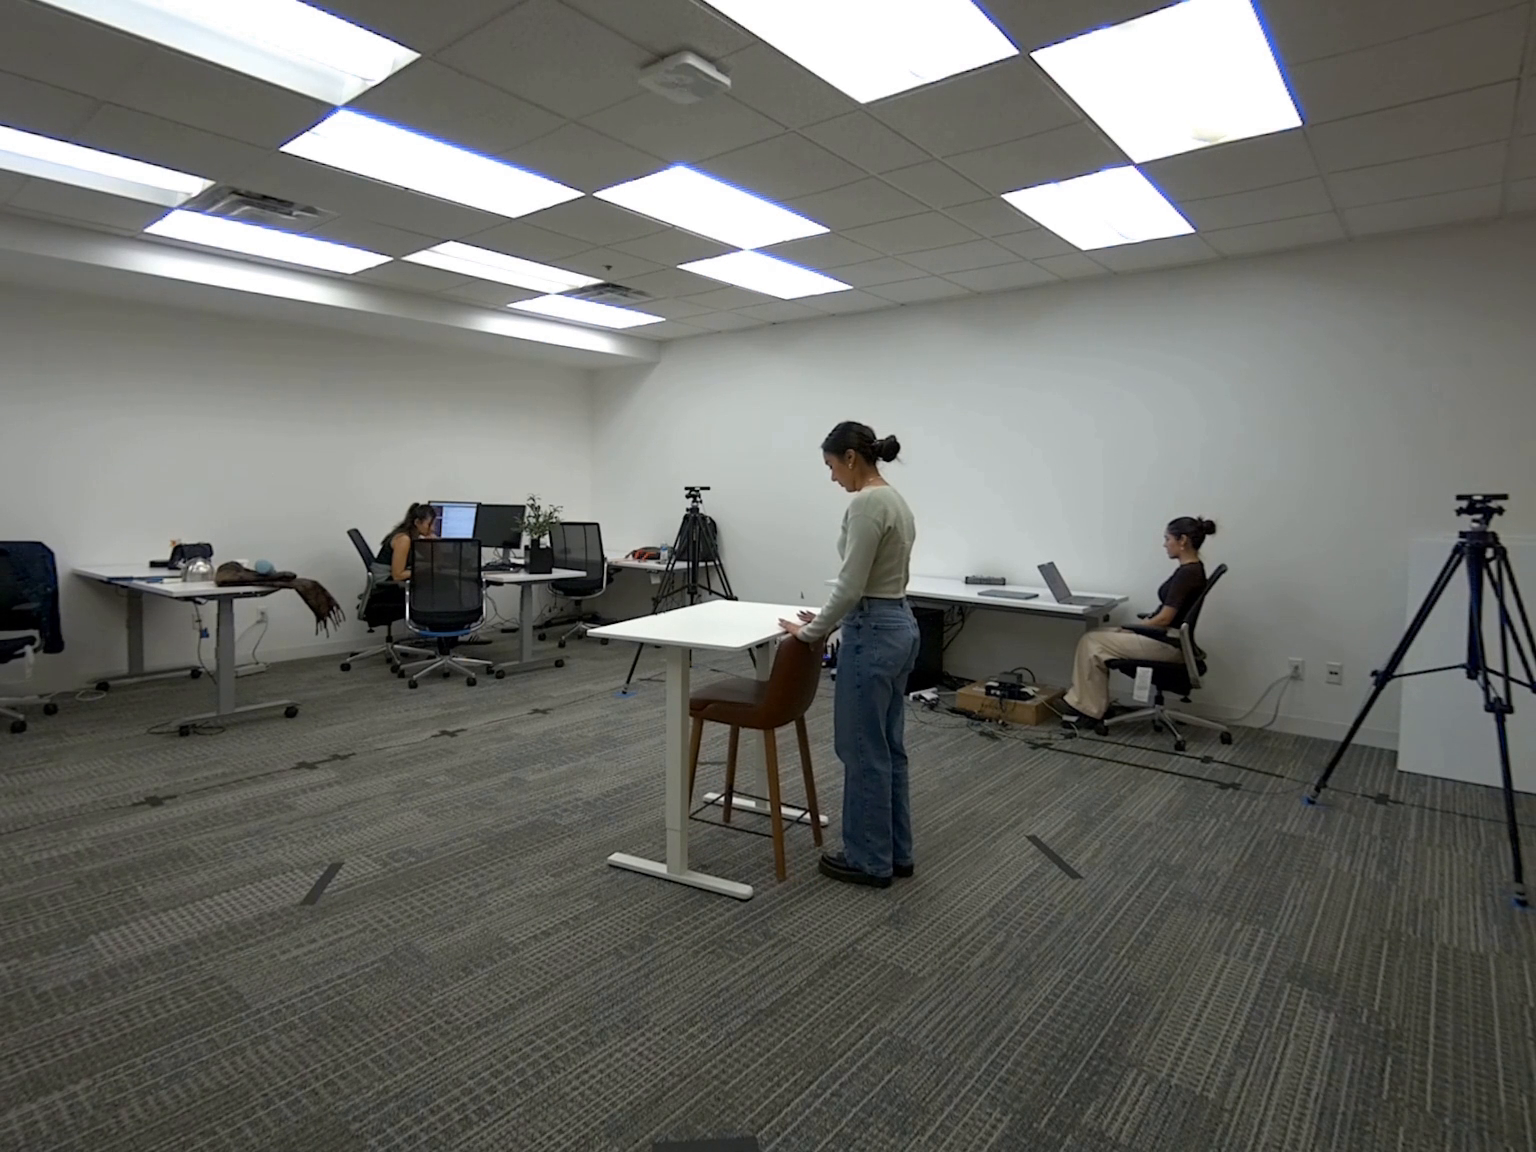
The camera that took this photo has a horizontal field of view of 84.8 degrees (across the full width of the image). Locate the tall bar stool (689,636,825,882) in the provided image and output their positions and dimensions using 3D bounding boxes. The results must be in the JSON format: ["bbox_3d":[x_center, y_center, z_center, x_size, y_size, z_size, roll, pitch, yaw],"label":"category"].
[{"bbox_3d":[-0.055,0.622,3.258,0.481,0.887,0.445,5,4,27],"label":"tall bar stool"}]
